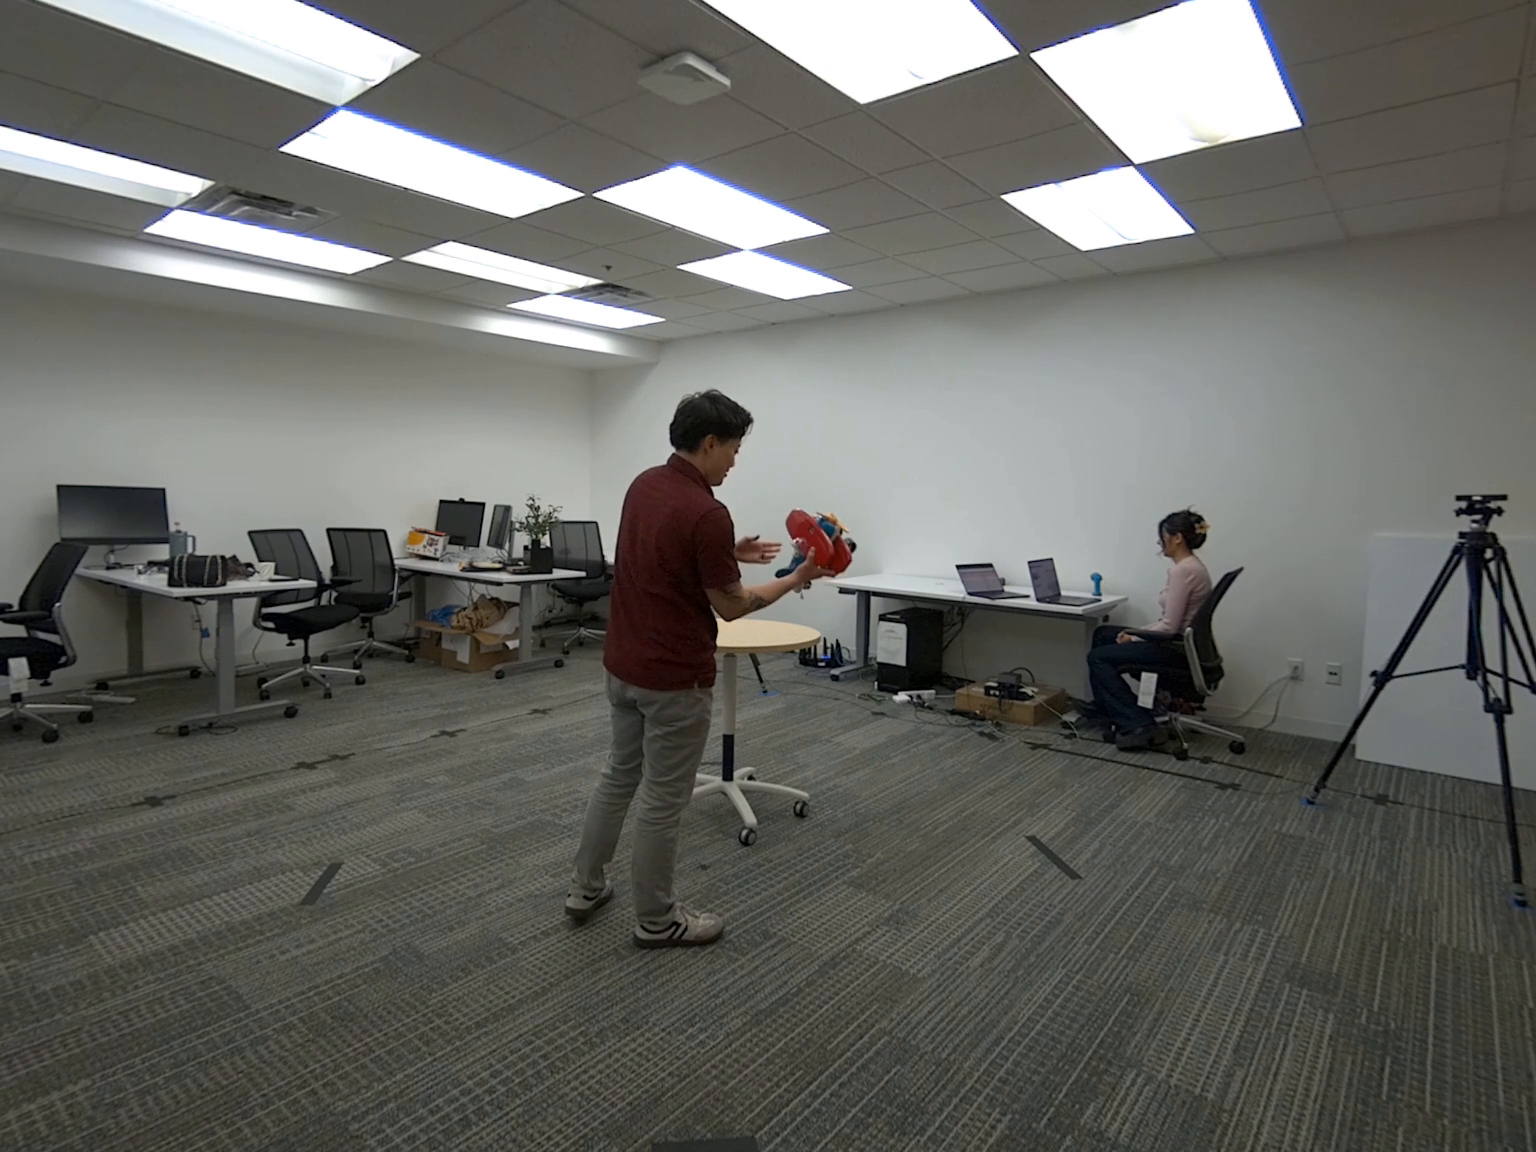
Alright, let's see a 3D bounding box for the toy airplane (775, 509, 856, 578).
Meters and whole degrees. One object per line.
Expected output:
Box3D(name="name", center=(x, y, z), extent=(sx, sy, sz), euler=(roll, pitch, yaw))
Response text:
Box3D(name="toy airplane", center=(0.134, -0.065, 2.620), extent=(0.261, 0.260, 0.150), euler=(14, -15, 45))
